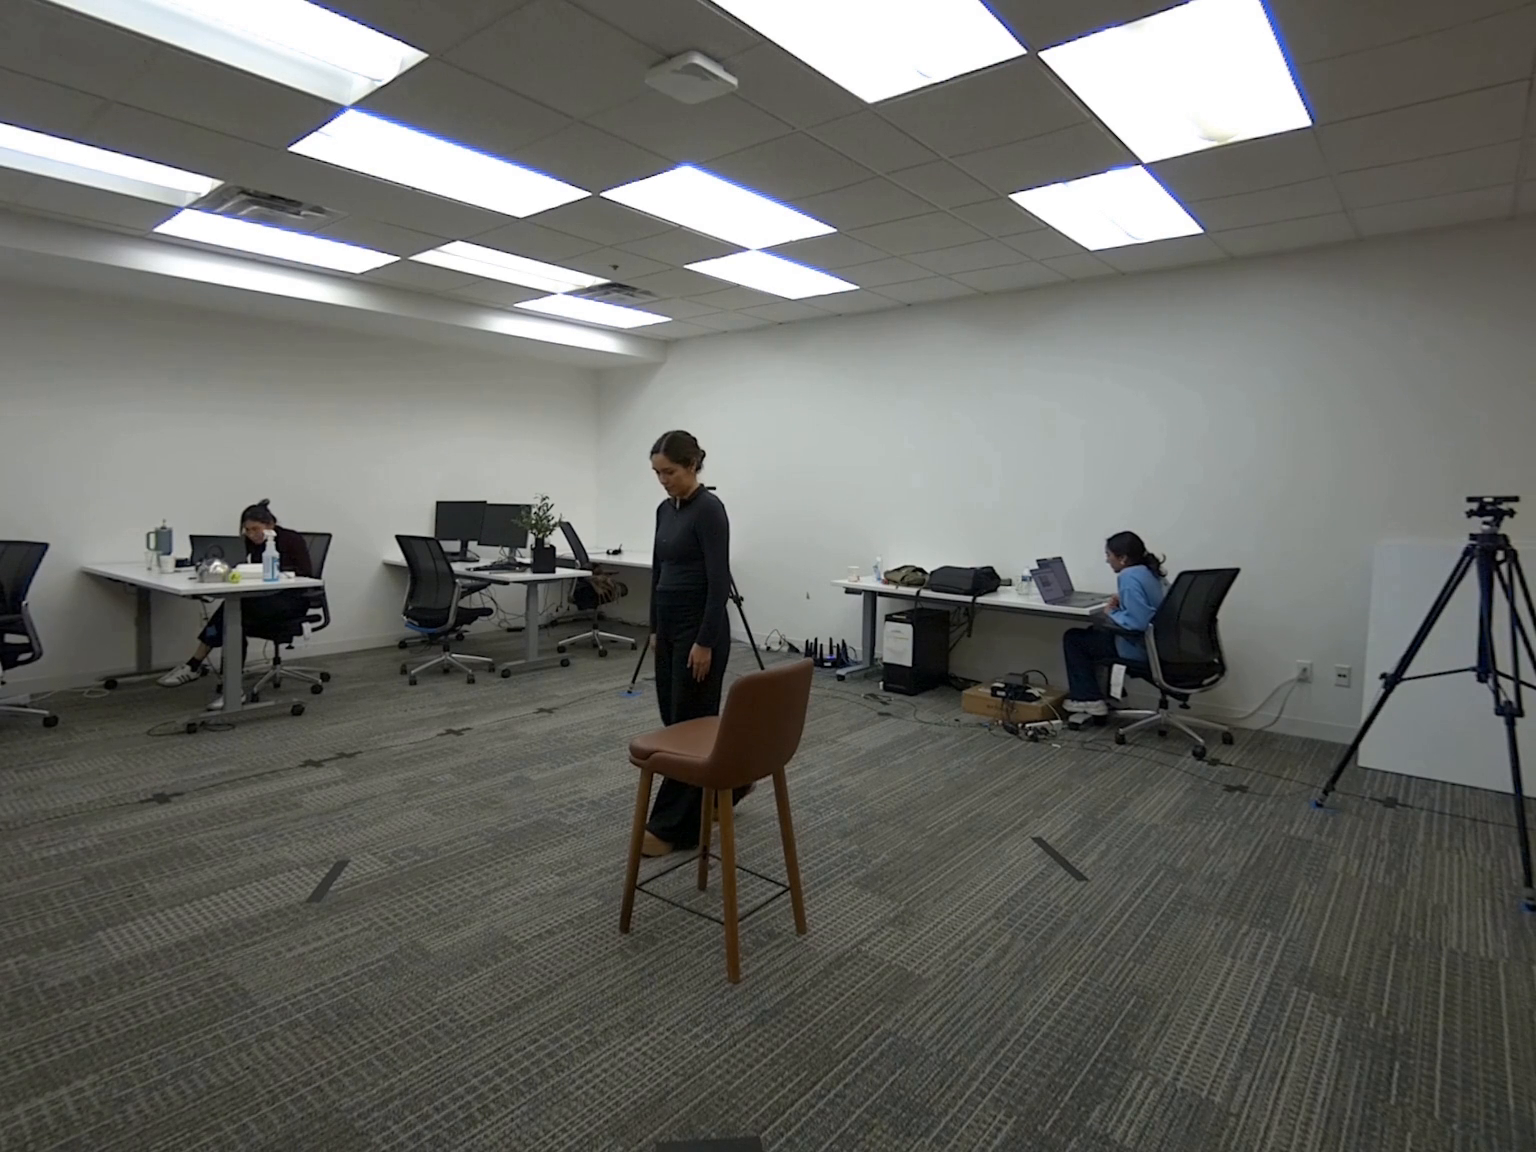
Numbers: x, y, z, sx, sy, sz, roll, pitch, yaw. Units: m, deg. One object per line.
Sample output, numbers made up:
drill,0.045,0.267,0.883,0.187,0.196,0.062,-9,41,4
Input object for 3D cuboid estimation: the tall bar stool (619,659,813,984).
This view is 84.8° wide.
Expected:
tall bar stool,-0.159,0.675,2.642,0.483,0.886,0.443,6,6,37
